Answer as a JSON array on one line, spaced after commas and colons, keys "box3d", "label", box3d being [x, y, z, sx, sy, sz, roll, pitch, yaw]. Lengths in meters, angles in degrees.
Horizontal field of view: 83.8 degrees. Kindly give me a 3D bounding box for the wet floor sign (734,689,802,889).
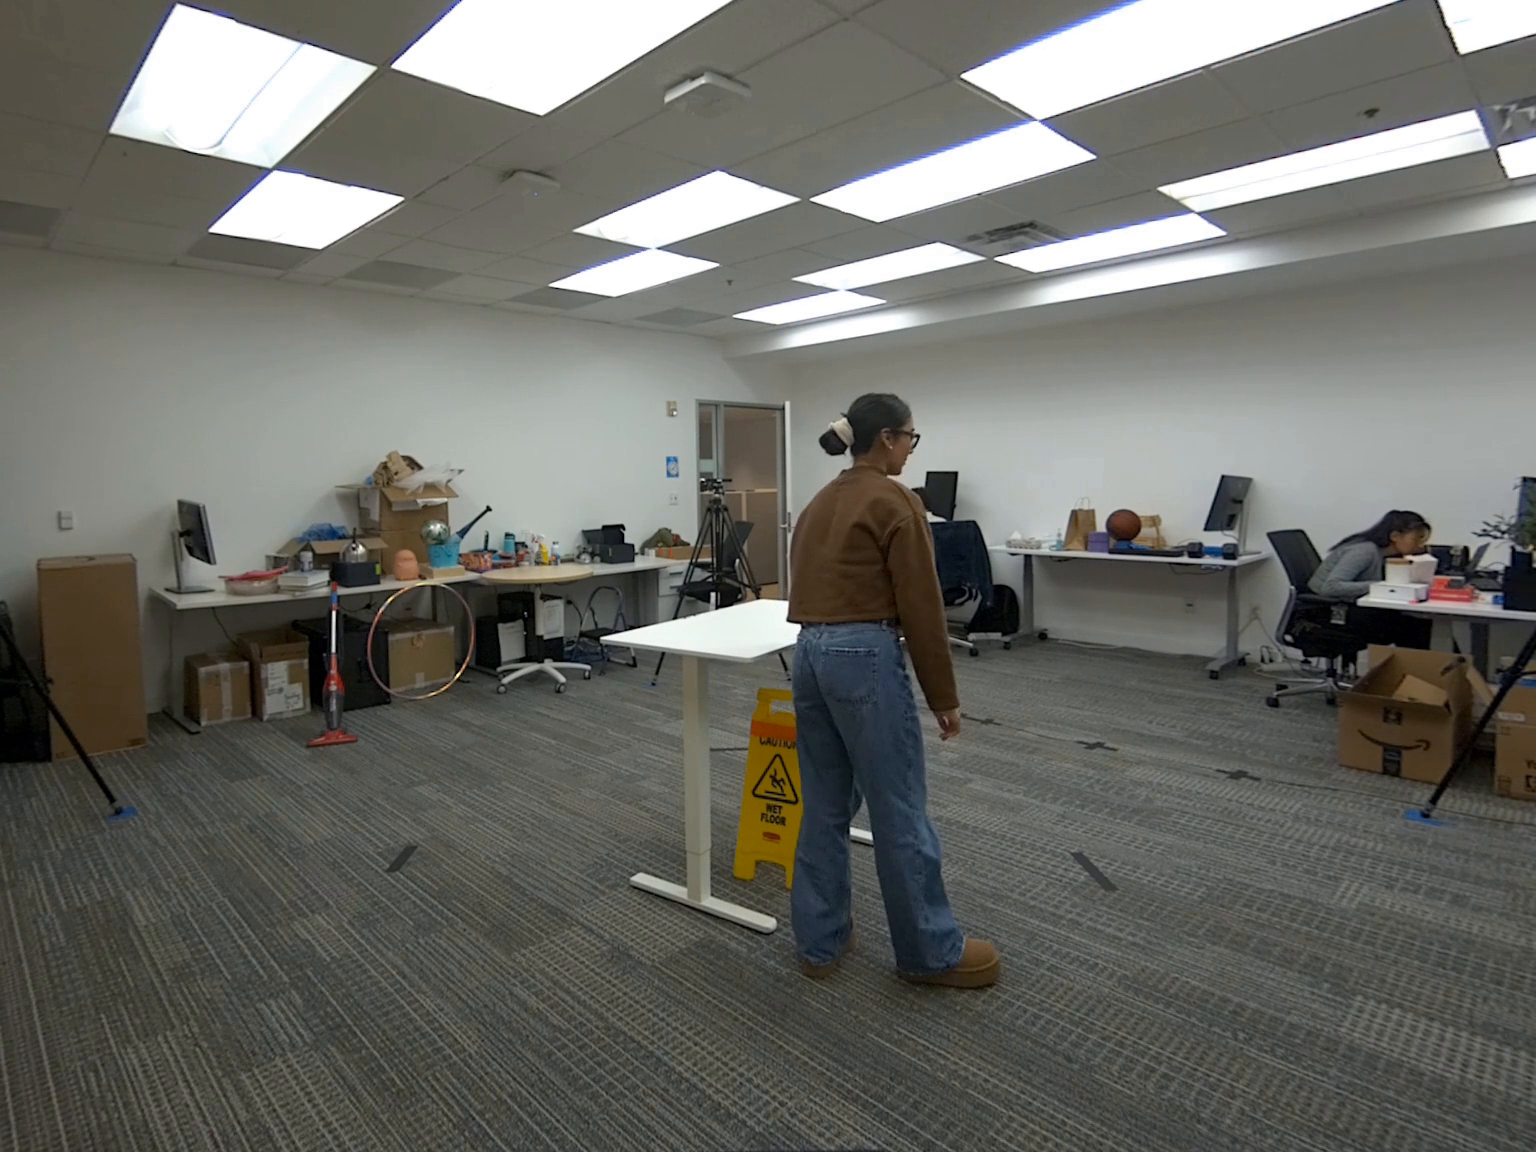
[{"box3d": [0.062, 0.725, 3.041, 0.289, 0.644, 0.283, 2, 4, 27], "label": "wet floor sign"}]
